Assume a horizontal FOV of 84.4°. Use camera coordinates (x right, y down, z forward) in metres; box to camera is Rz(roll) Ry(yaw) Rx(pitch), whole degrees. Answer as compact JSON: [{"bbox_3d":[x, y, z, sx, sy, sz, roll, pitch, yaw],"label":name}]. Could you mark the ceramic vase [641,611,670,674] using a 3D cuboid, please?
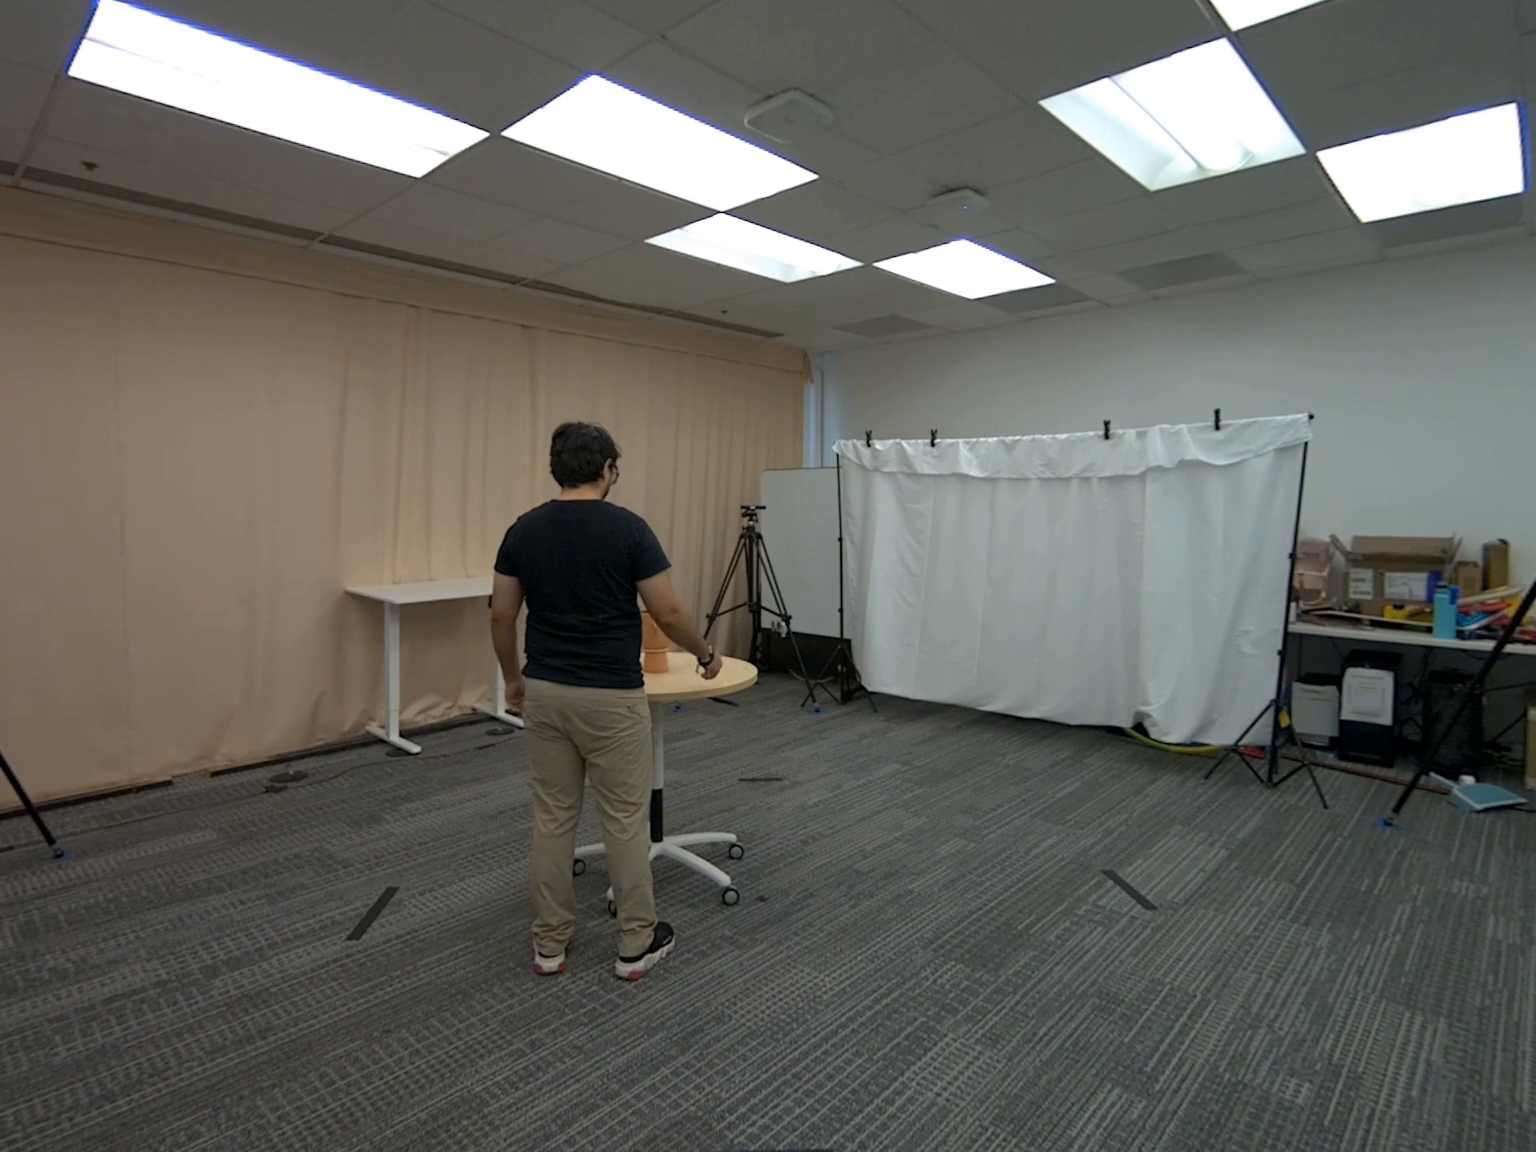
[{"bbox_3d":[-0.412,0.244,3.121,0.139,0.220,0.154,1,0,35],"label":"ceramic vase"}]
